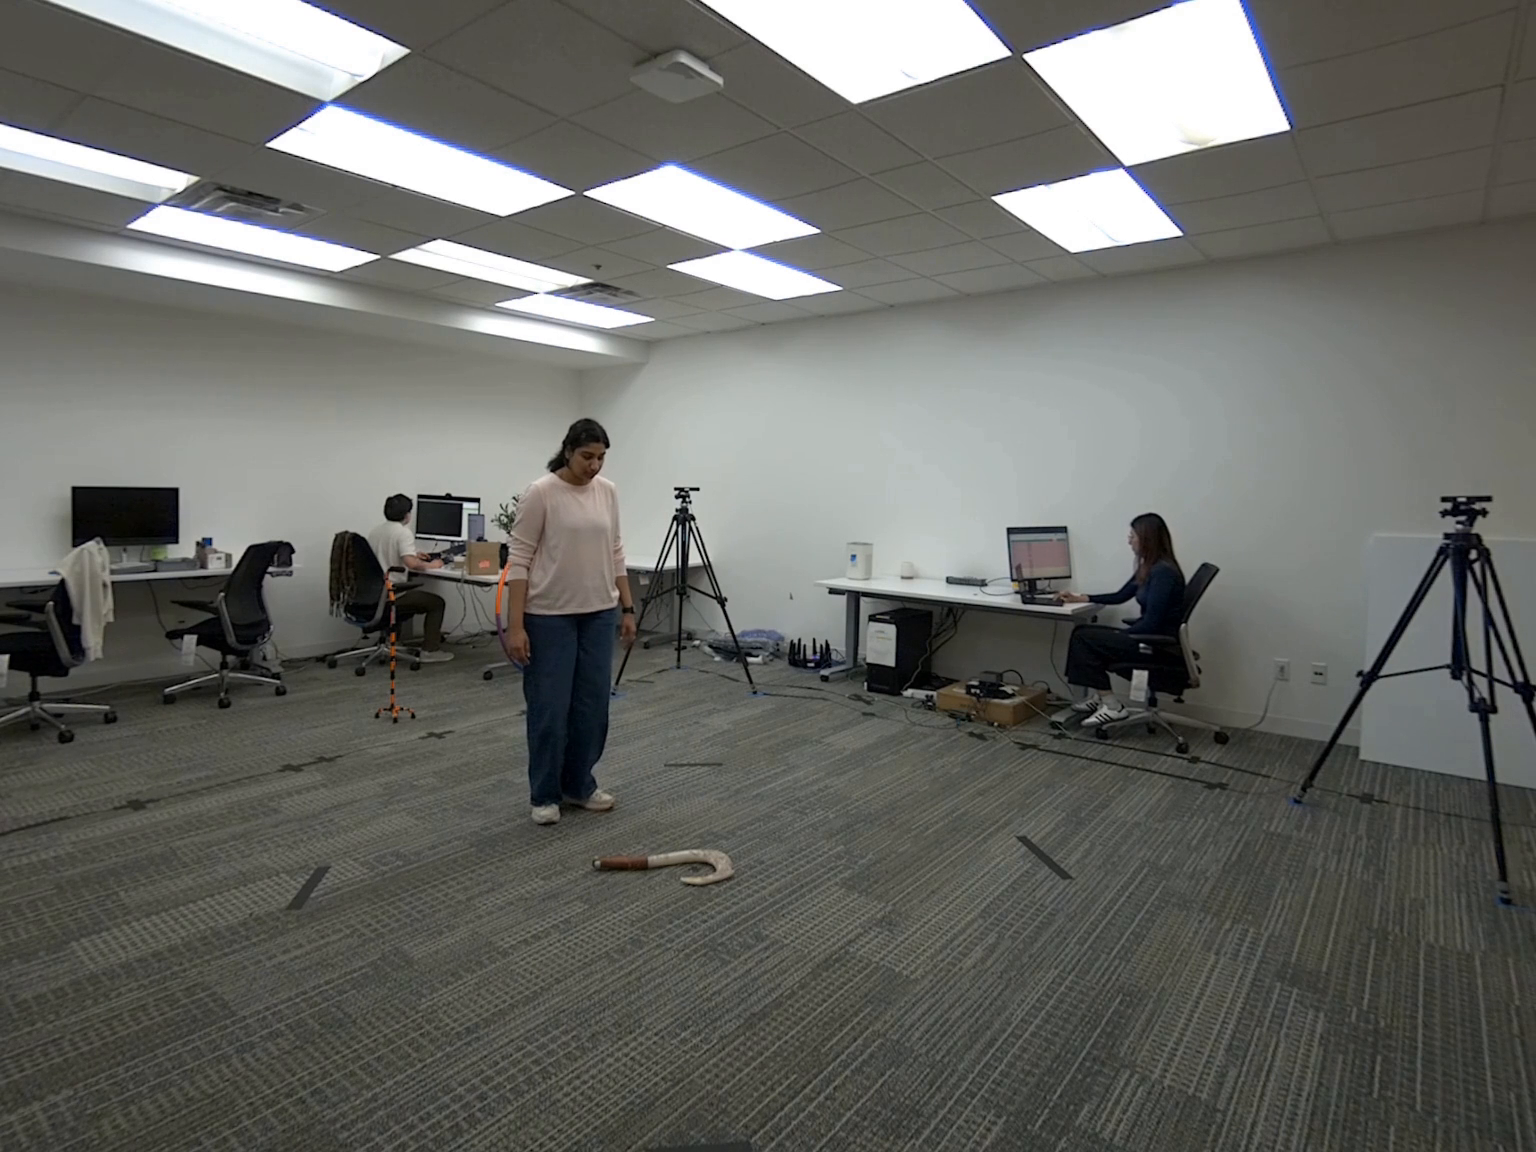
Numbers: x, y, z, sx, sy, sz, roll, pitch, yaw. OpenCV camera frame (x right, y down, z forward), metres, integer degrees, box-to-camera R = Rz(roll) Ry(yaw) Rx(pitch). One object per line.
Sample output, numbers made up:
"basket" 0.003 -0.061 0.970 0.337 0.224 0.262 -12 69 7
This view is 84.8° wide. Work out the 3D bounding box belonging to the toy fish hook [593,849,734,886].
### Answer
"toy fish hook" -0.388 1.044 3.059 0.503 0.048 0.227 0 5 -7
